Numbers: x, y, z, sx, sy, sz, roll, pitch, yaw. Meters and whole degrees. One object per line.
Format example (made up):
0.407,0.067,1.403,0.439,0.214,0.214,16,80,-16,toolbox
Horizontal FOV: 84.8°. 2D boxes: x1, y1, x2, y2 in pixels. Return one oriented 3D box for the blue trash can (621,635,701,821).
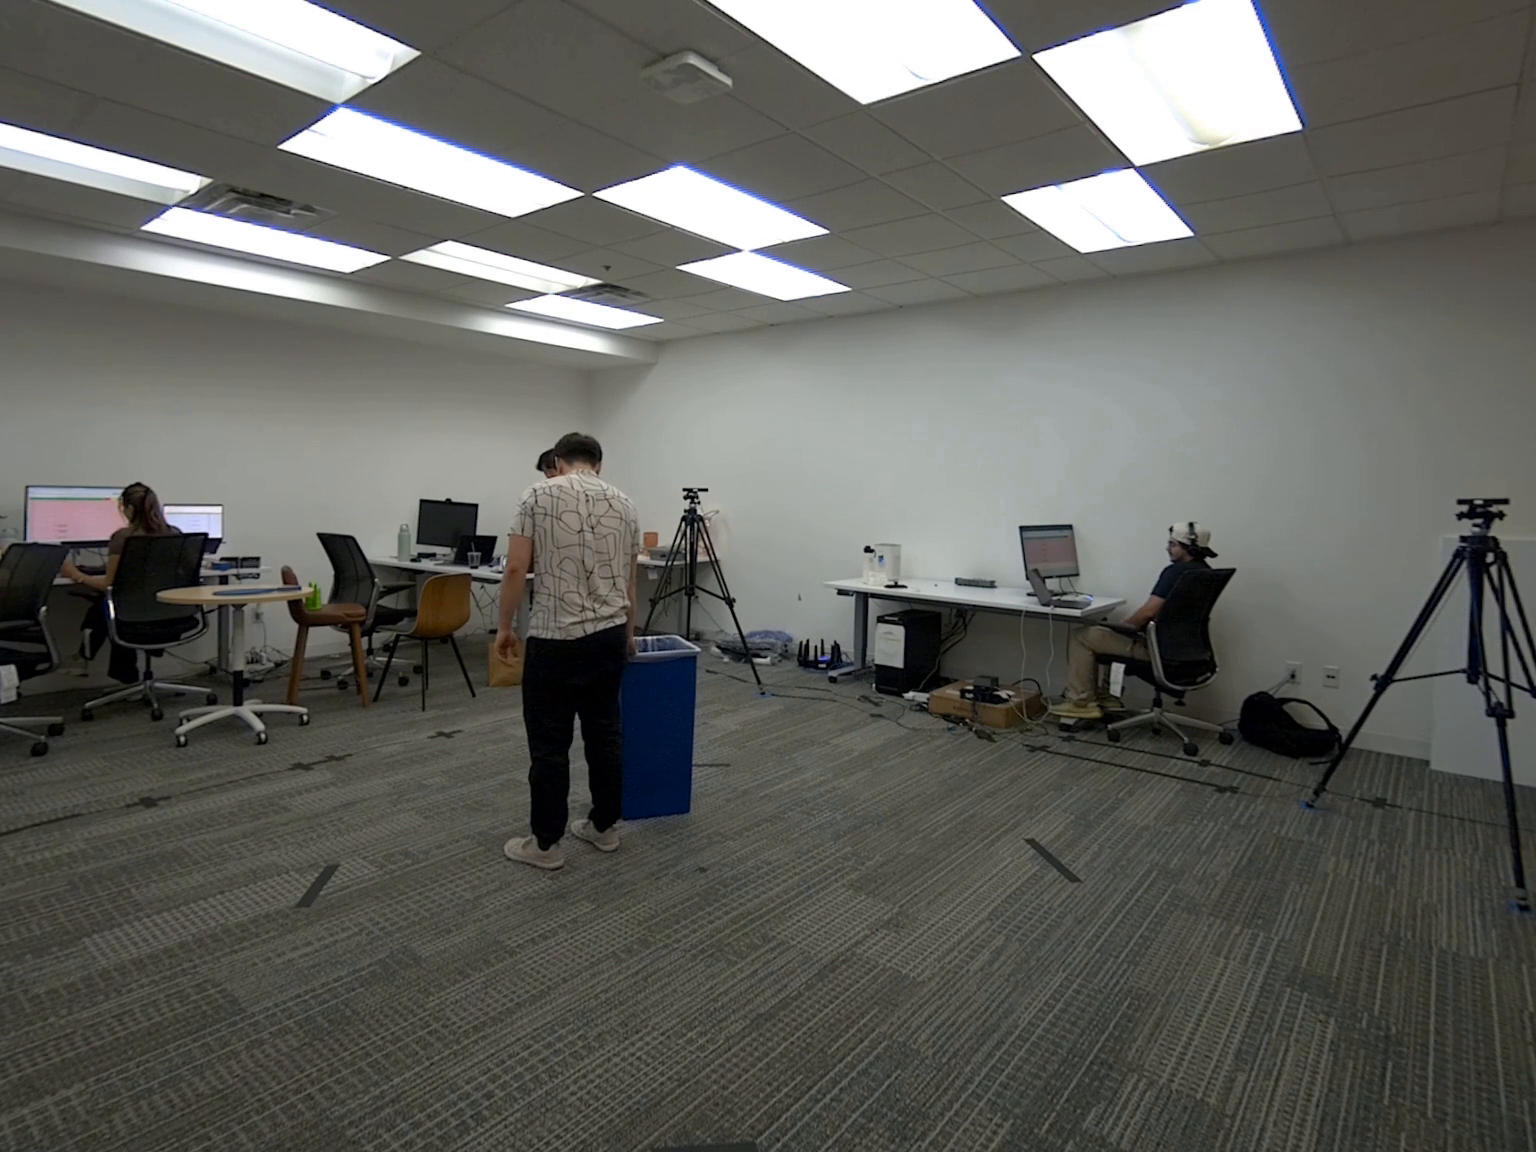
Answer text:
-0.526,0.649,3.715,0.370,0.711,0.383,-1,4,-22,blue trash can
